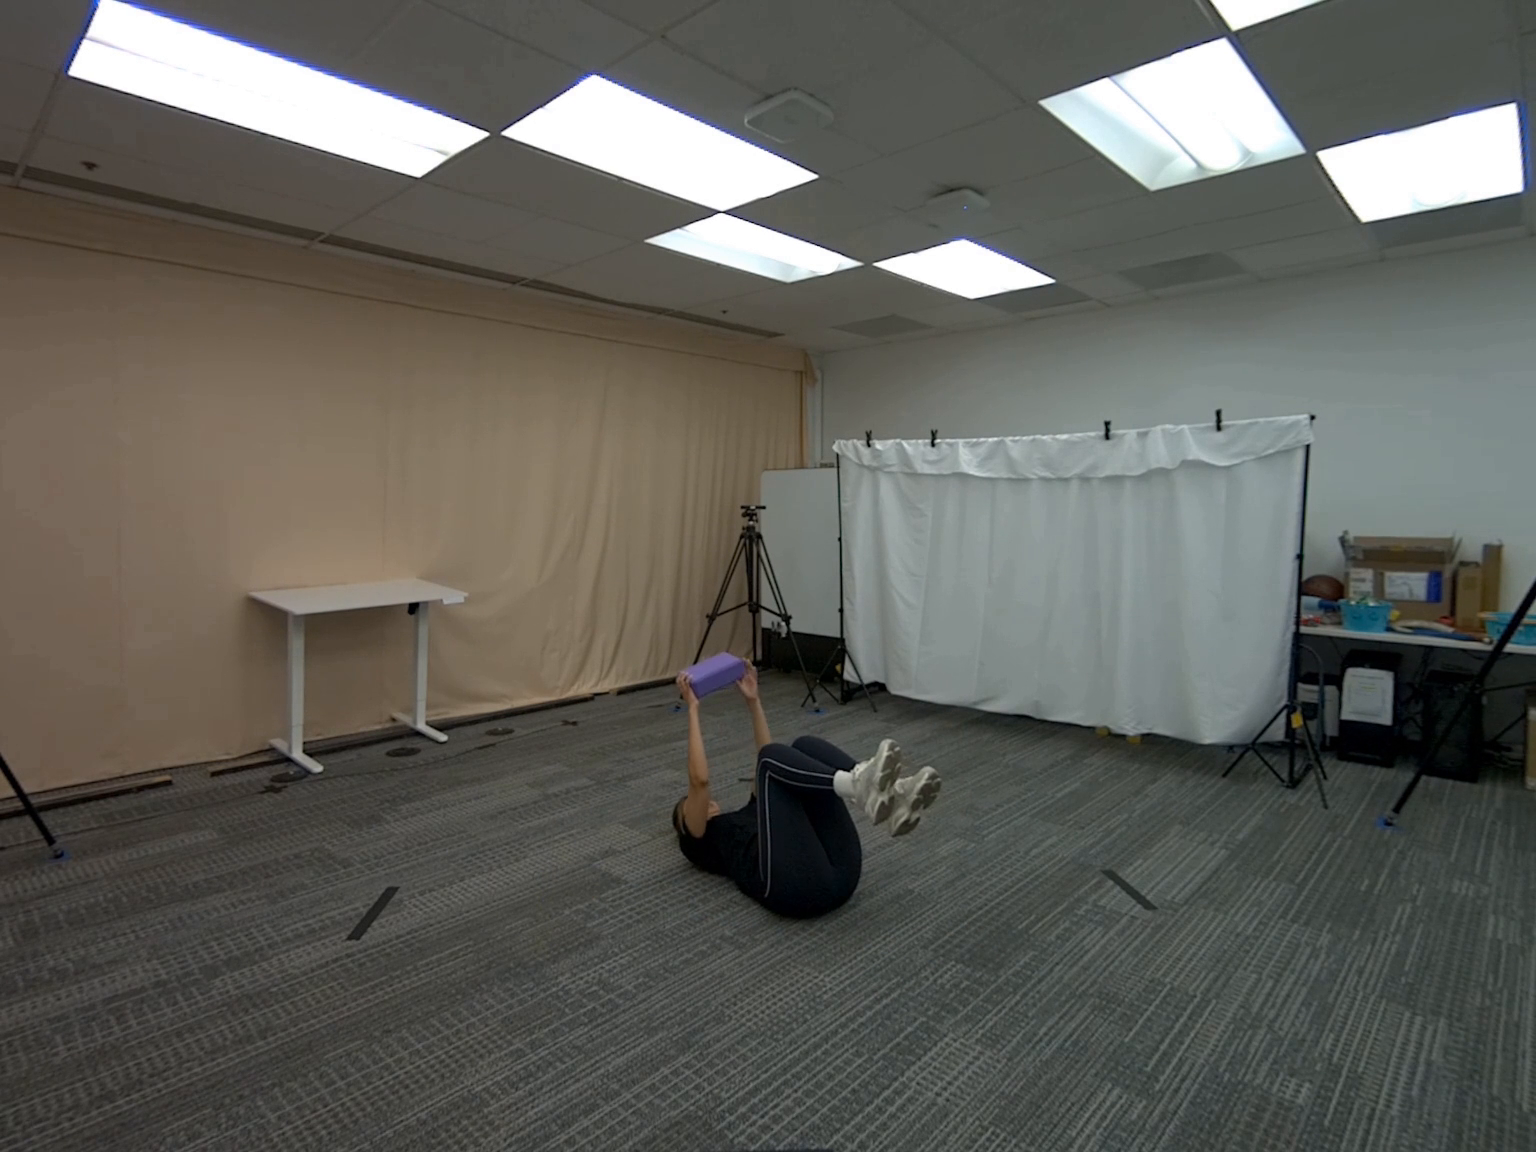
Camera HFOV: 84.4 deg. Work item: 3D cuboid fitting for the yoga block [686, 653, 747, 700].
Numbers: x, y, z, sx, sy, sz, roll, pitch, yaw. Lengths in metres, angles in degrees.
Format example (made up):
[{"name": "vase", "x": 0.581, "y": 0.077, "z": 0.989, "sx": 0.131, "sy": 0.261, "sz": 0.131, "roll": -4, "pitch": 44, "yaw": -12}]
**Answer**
[{"name": "yoga block", "x": -0.222, "y": 0.387, "z": 3.300, "sx": 0.225, "sy": 0.075, "sz": 0.154, "roll": -22, "pitch": 19, "yaw": -24}]
